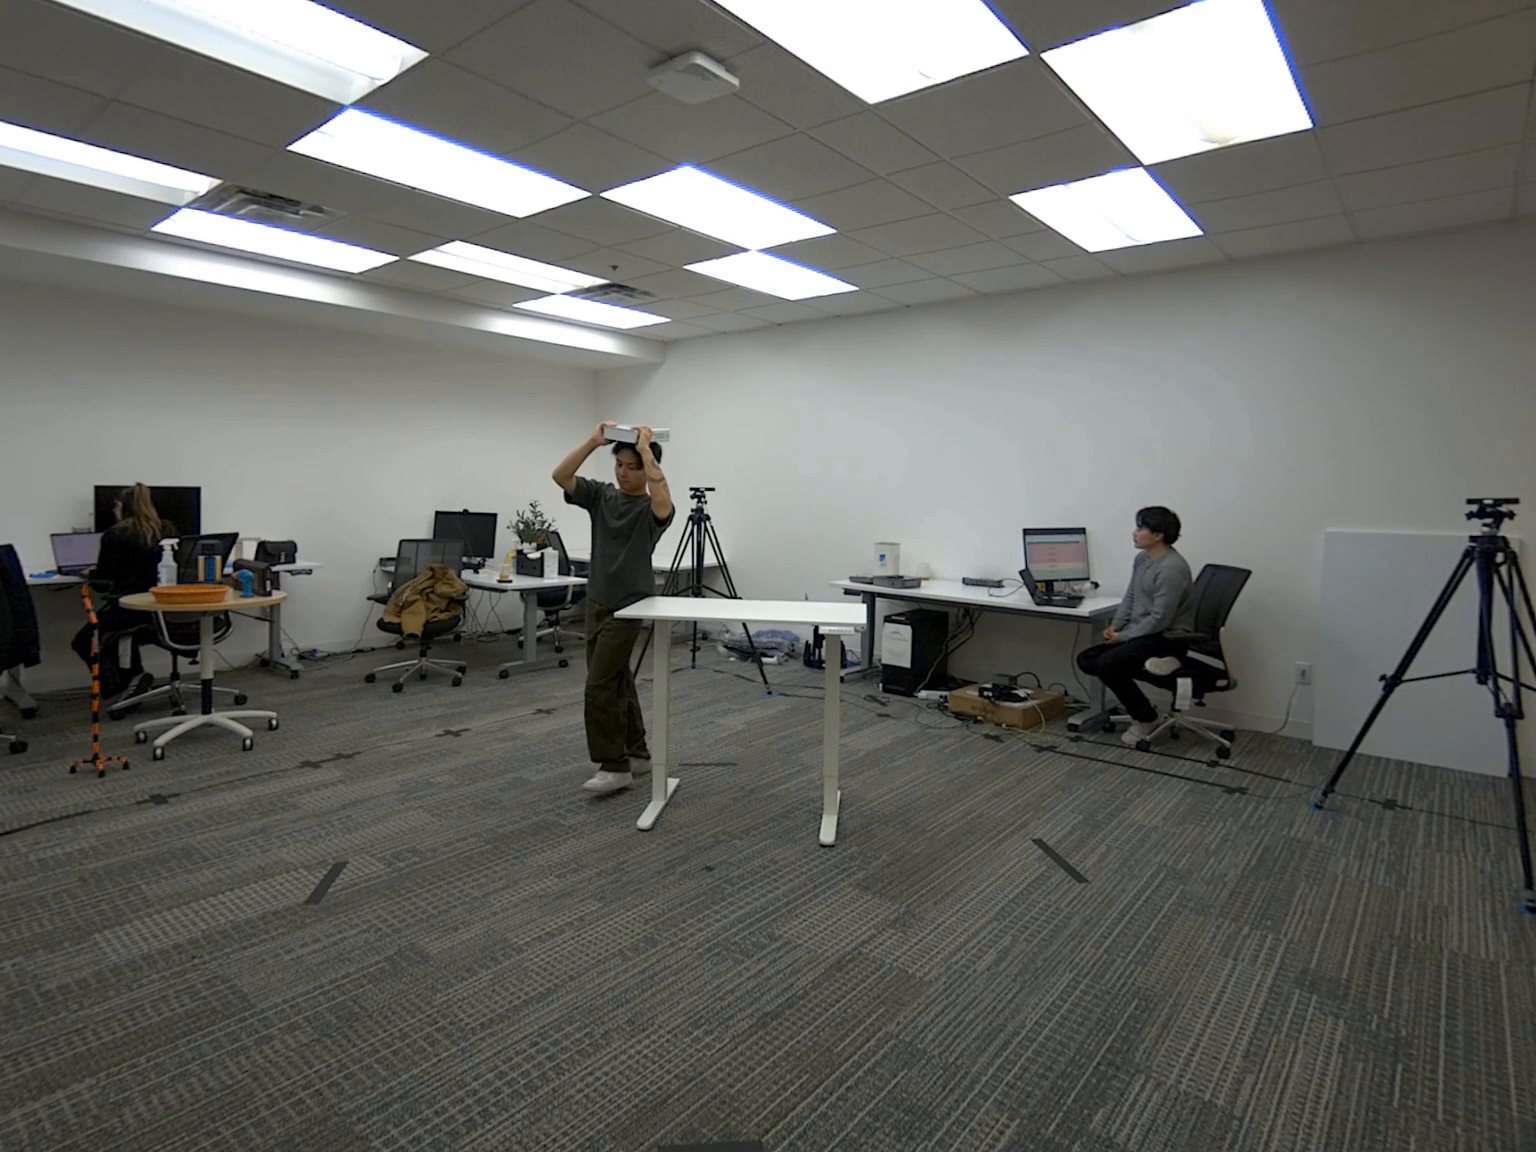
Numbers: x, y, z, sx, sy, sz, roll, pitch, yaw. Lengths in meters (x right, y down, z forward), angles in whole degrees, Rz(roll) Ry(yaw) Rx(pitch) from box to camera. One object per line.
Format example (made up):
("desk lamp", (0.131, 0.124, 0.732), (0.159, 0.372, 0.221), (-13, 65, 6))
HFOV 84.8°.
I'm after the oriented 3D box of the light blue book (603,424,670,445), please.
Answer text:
("light blue book", (-0.612, -0.652, 3.869), (0.197, 0.058, 0.256), (13, 17, 28))
